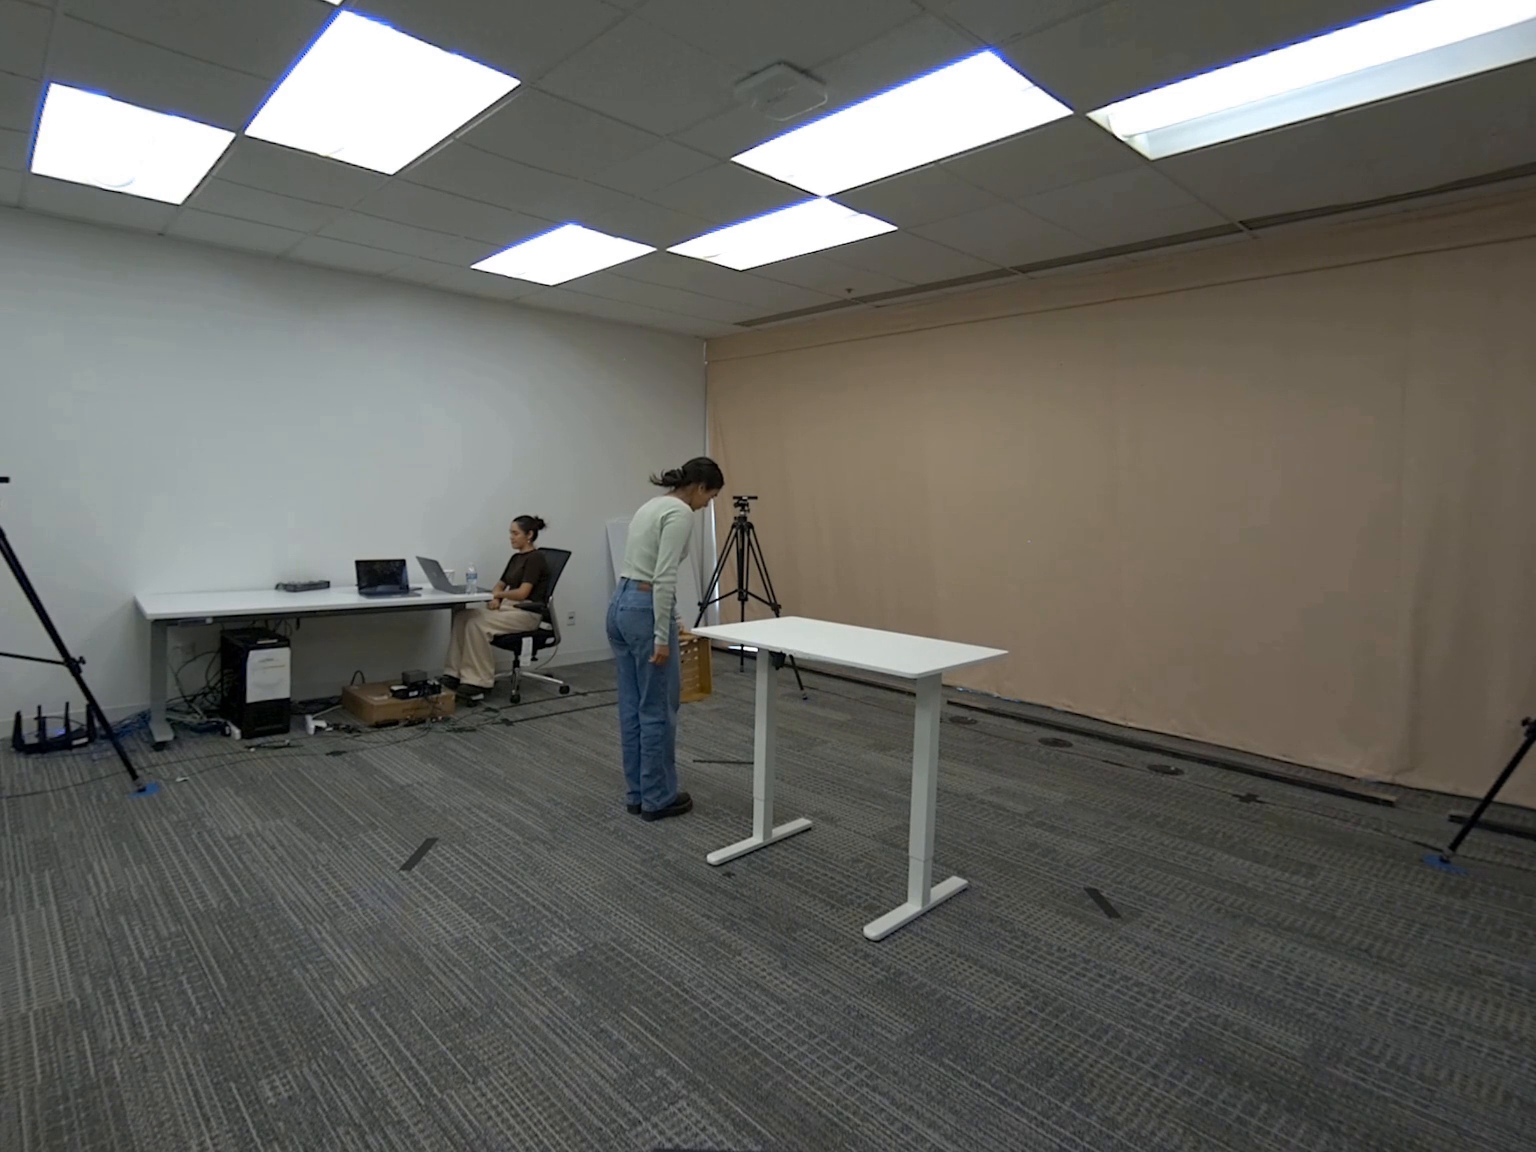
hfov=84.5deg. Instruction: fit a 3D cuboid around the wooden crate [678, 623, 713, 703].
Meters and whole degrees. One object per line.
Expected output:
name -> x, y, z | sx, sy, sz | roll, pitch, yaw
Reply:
wooden crate -> -0.462, 0.423, 3.928 | 0.296, 0.322, 0.280 | -10, 10, -41
